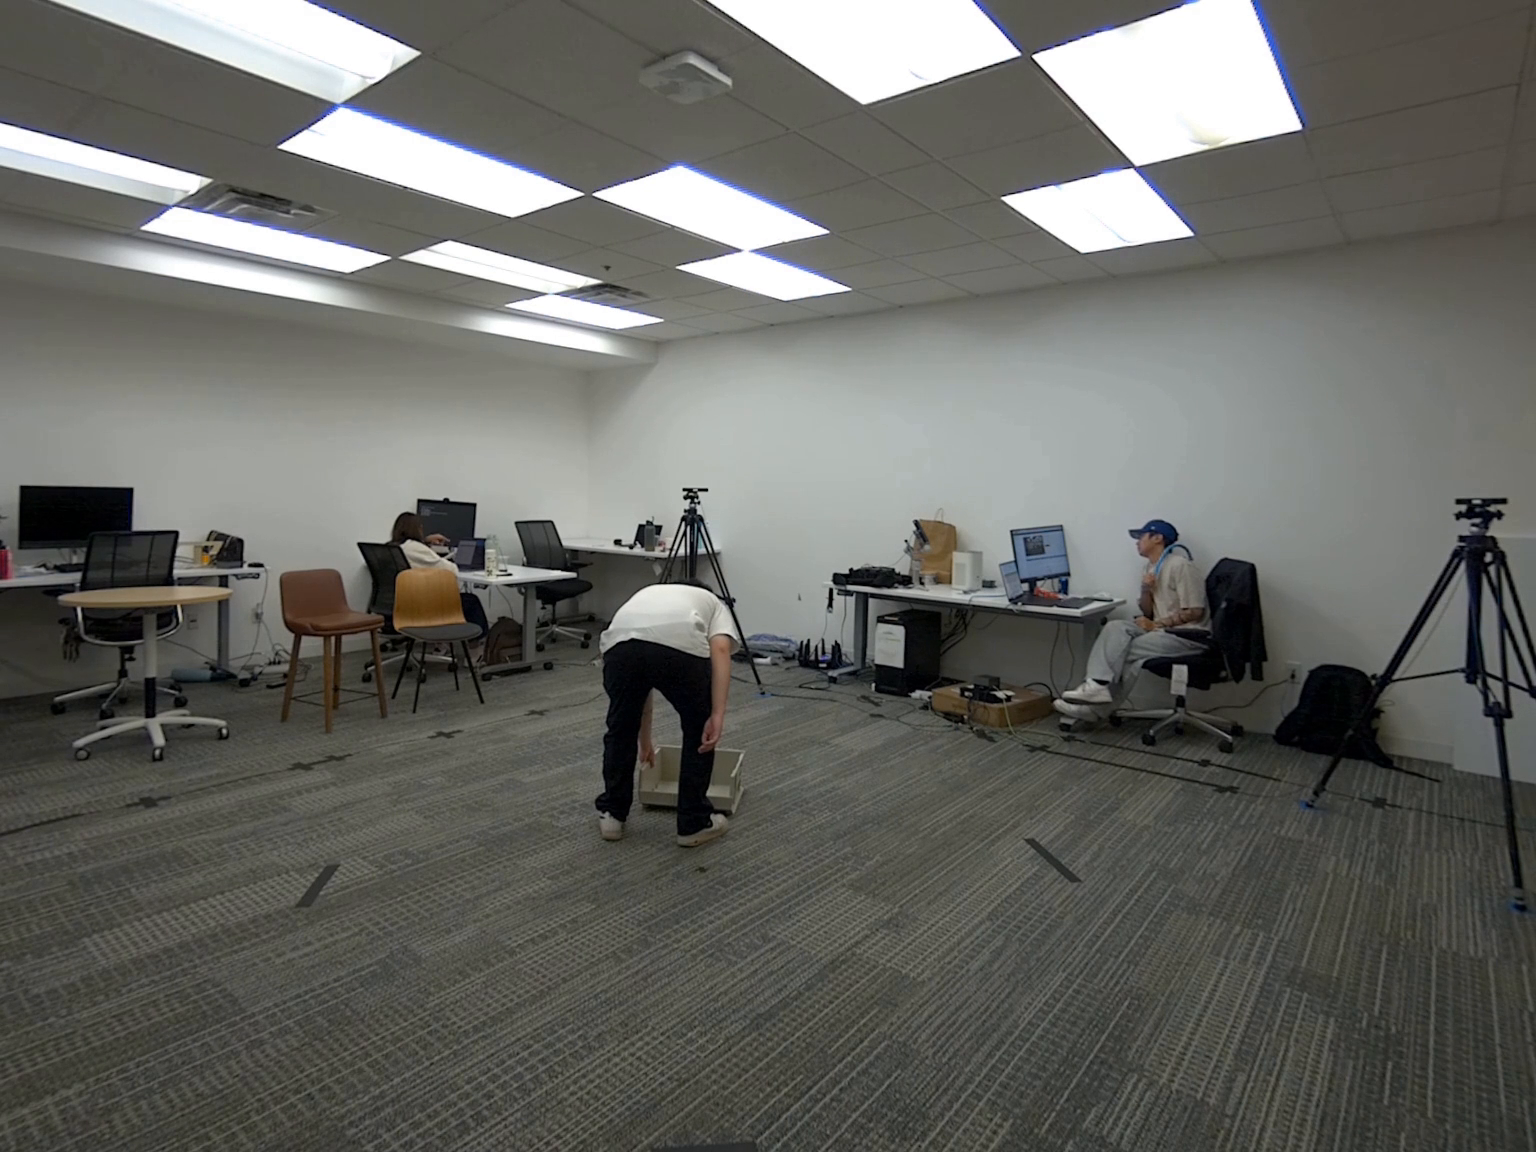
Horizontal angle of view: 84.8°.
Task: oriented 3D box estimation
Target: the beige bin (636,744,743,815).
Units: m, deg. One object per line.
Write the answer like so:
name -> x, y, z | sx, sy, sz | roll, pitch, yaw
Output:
beige bin -> -0.344, 0.911, 3.810 | 0.426, 0.188, 0.375 | 1, 4, 8
